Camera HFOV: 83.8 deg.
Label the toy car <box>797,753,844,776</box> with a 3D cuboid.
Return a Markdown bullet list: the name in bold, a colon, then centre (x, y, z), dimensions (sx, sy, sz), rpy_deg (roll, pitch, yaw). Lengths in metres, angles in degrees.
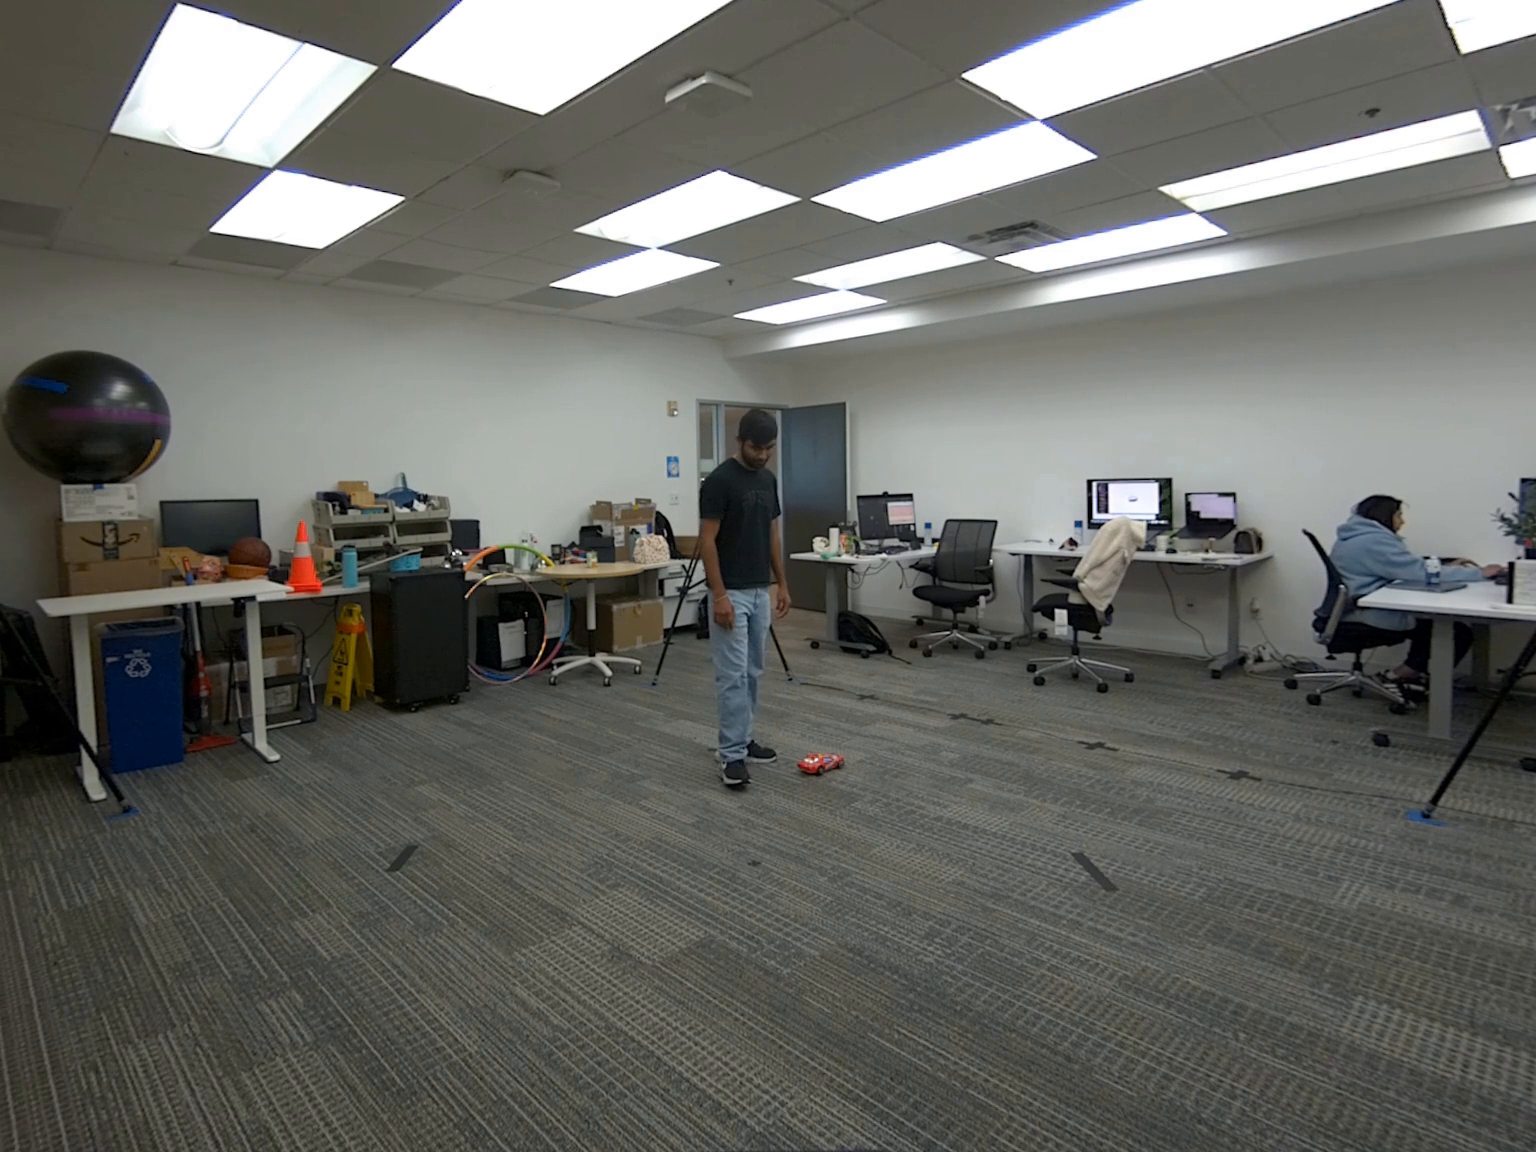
- **toy car**: centre (0.246, 0.895, 4.080), dimensions (0.246, 0.083, 0.134), rpy_deg (8, -1, -41)
